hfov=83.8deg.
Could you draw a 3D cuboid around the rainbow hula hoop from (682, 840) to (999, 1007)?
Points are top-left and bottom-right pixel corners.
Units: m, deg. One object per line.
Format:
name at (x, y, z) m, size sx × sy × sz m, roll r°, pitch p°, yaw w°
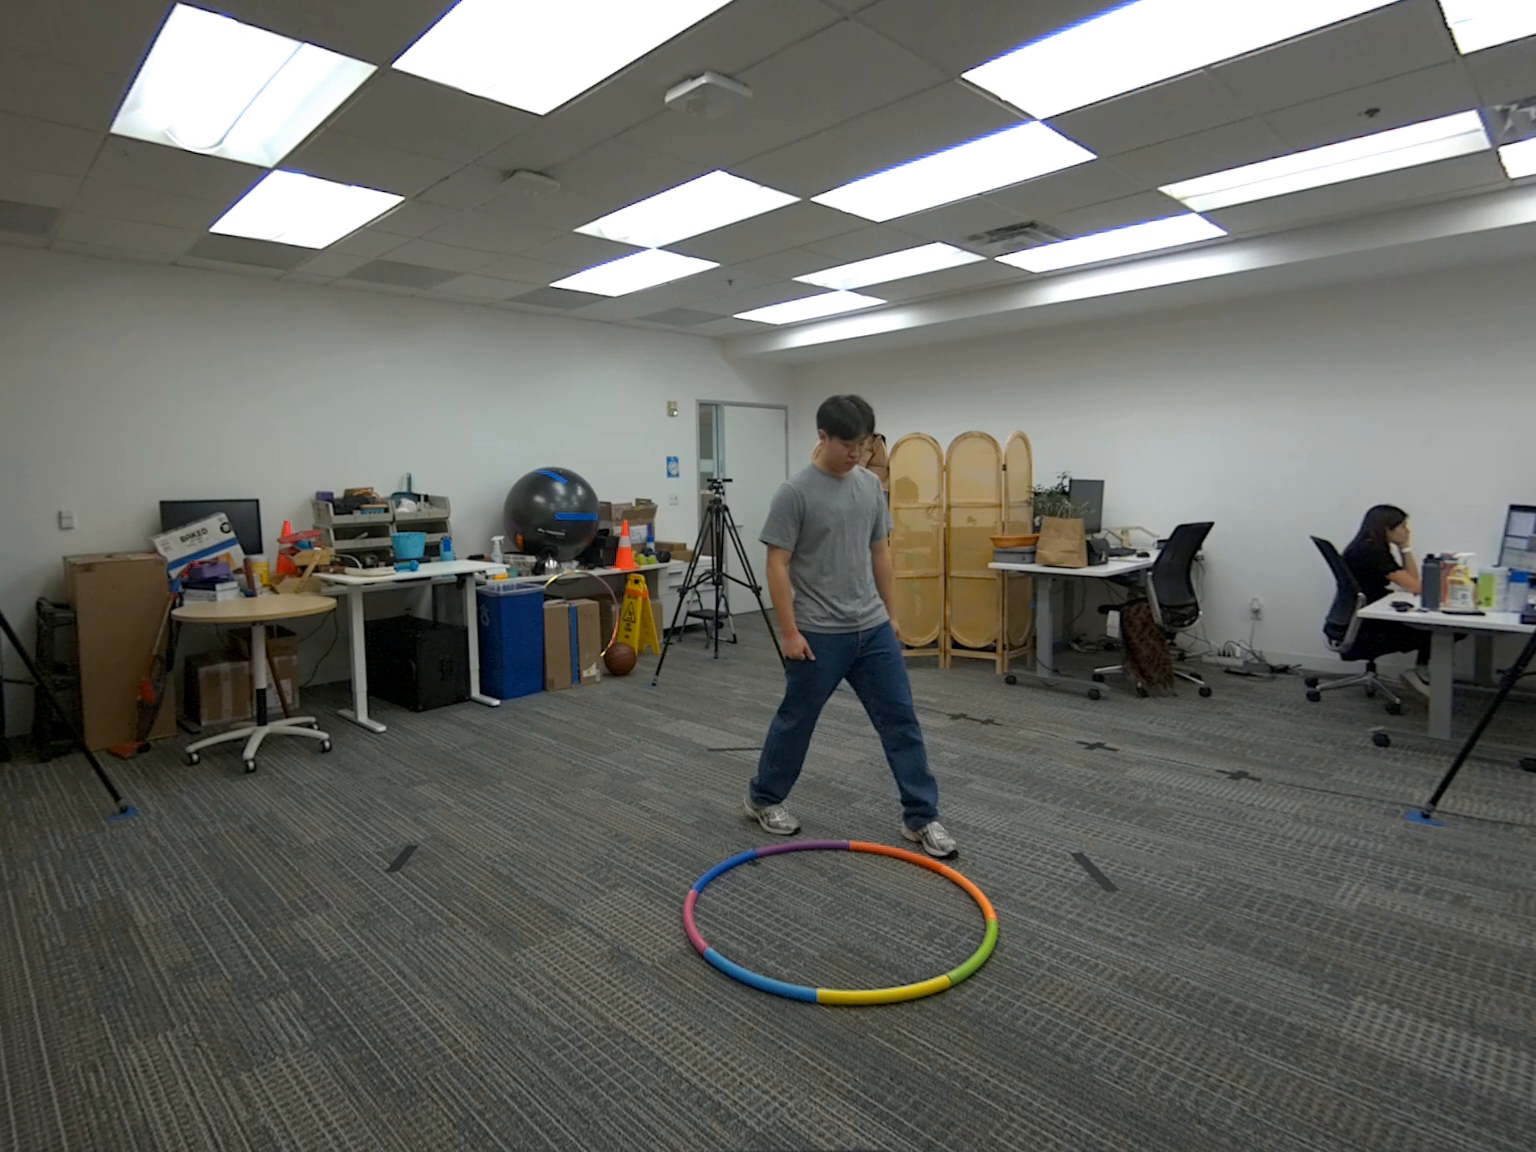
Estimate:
rainbow hula hoop at (0.218, 1.056, 2.740) m, size 0.978 × 0.035 × 0.984 m, roll -2°, pitch 7°, yaw -2°
